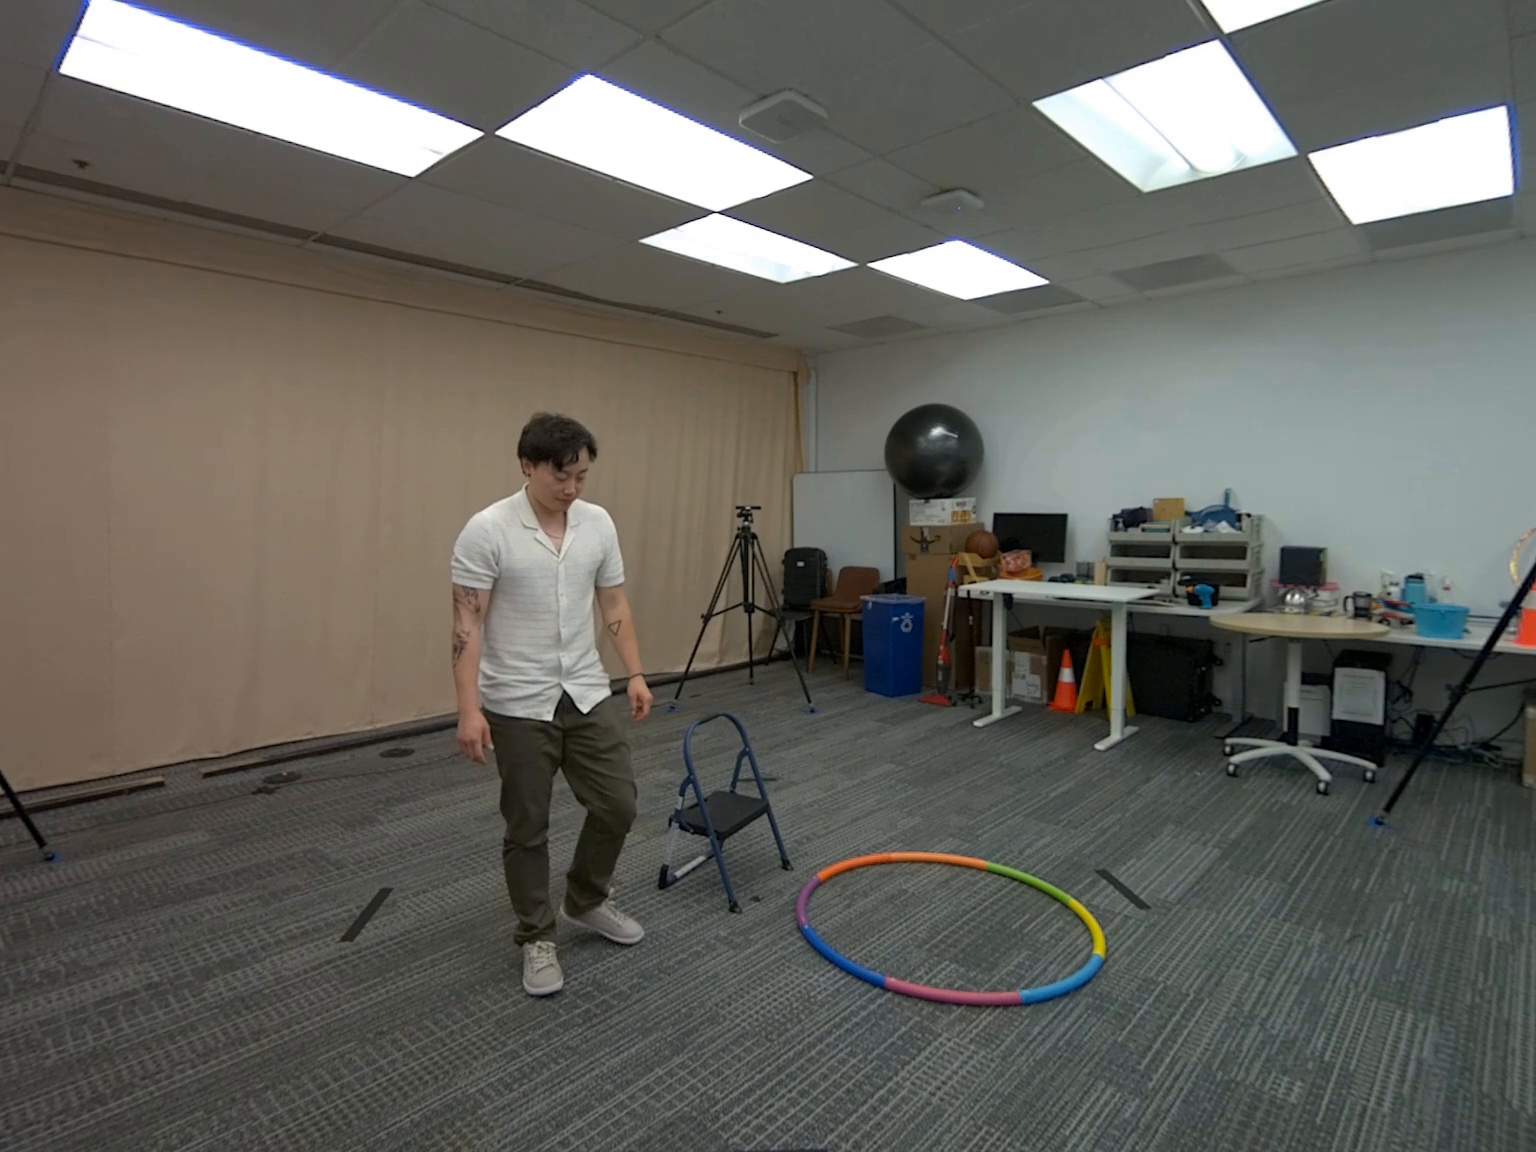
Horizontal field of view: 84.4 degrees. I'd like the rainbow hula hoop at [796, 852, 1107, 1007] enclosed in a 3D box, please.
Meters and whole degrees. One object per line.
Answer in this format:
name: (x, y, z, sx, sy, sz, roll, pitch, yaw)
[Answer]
rainbow hula hoop: (0.592, 1.126, 2.819, 0.978, 0.035, 0.982, 0, 5, -2)
